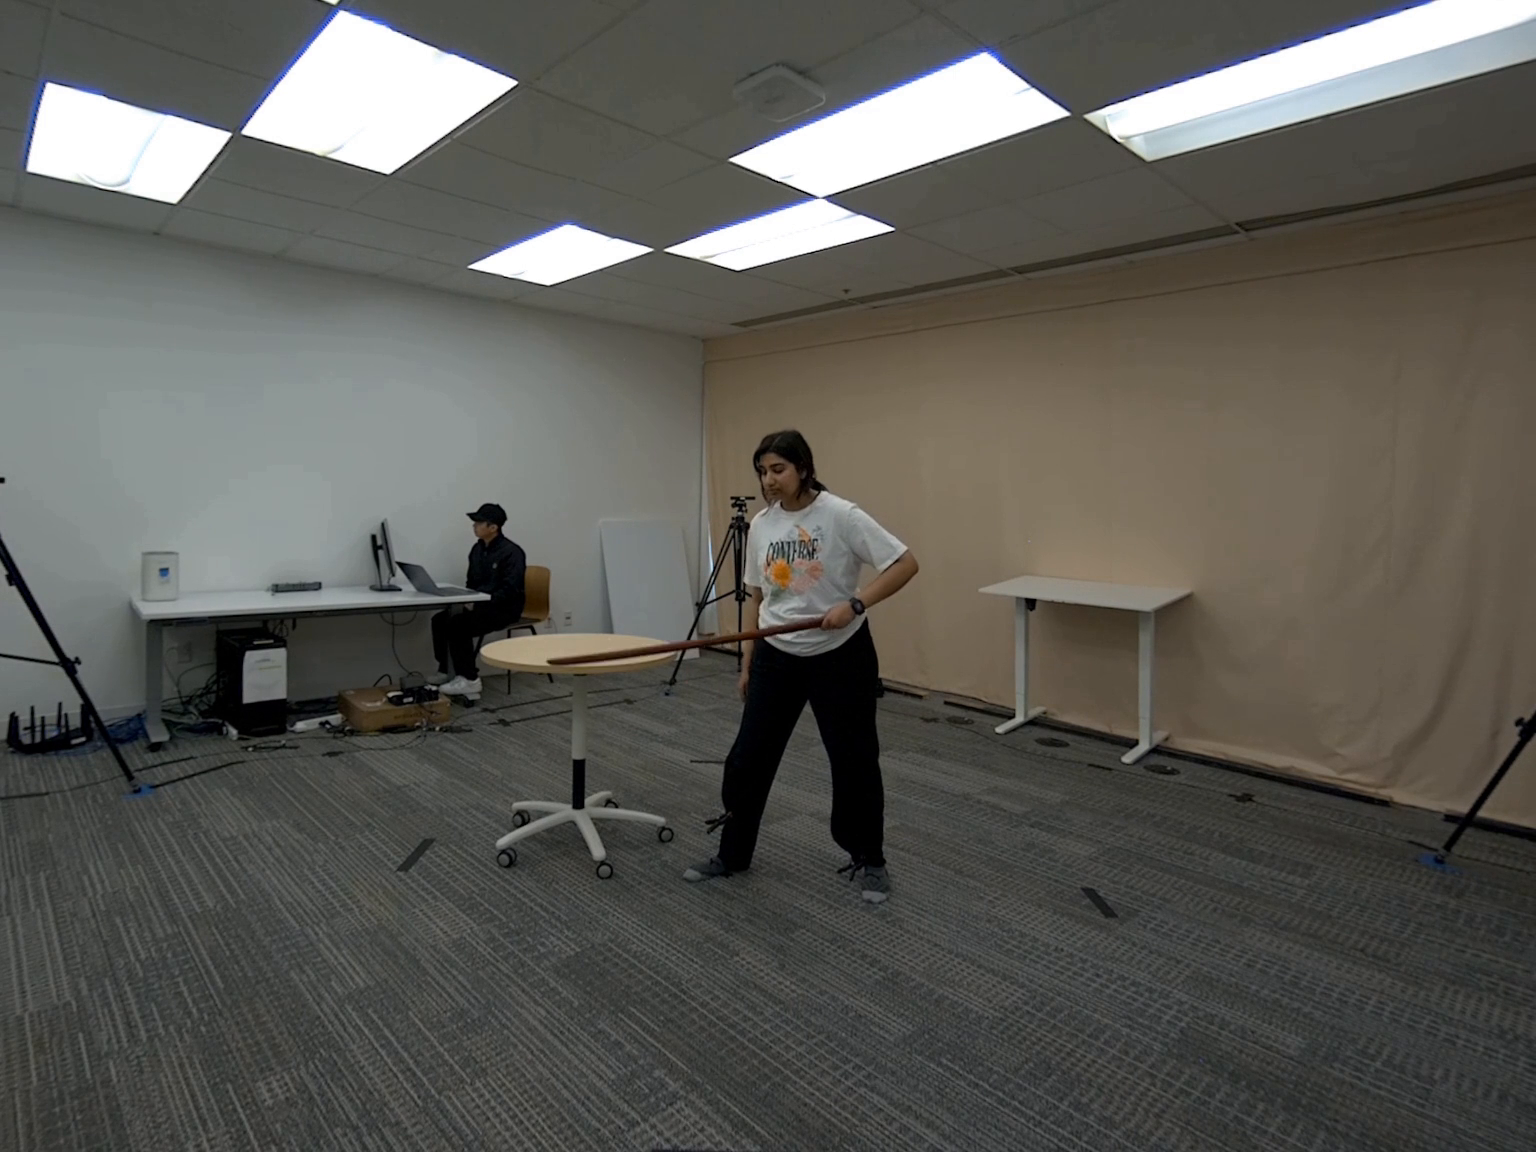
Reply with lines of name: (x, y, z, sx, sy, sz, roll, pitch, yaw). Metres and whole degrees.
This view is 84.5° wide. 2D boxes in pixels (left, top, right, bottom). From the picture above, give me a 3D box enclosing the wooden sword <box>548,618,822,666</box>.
wooden sword: (-0.170, 0.211, 2.680, 1.014, 0.050, 0.025, -7, 40, -14)
